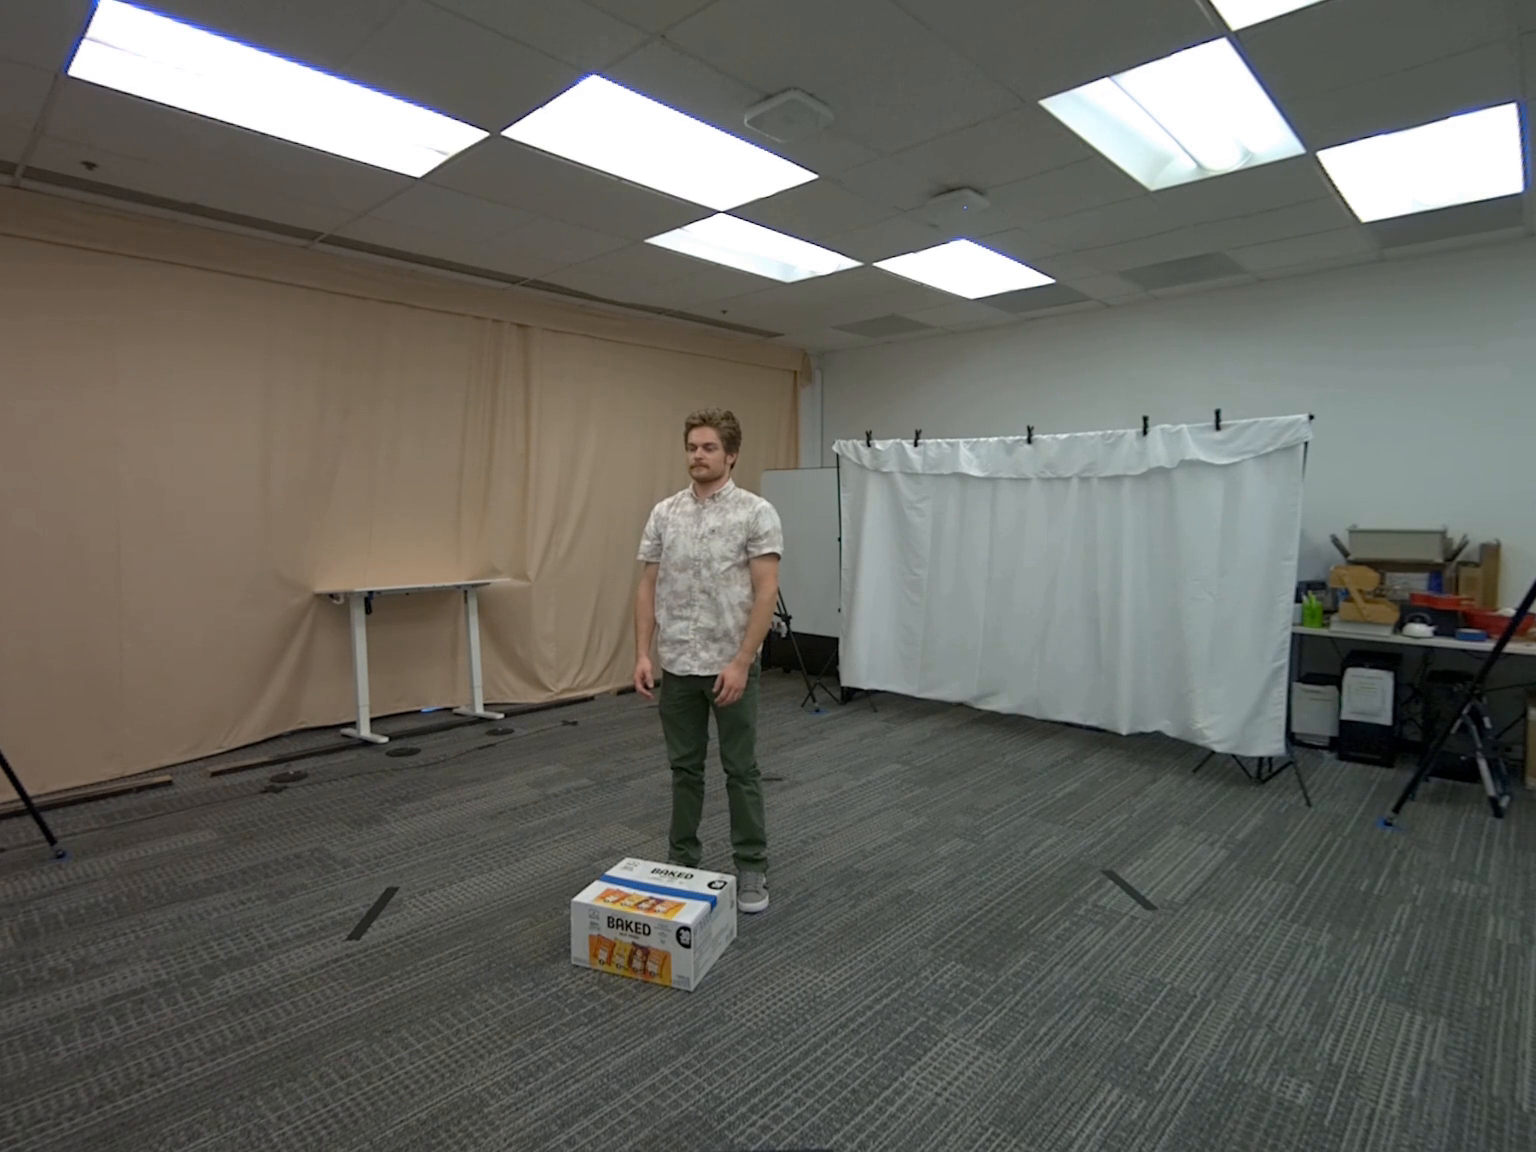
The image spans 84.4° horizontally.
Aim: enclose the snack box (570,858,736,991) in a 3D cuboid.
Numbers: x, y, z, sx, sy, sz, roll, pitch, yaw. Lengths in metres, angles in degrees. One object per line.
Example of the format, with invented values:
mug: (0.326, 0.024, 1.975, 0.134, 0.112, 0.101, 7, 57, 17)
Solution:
snack box: (-0.349, 1.077, 2.621, 0.414, 0.205, 0.333, 1, 5, 21)
